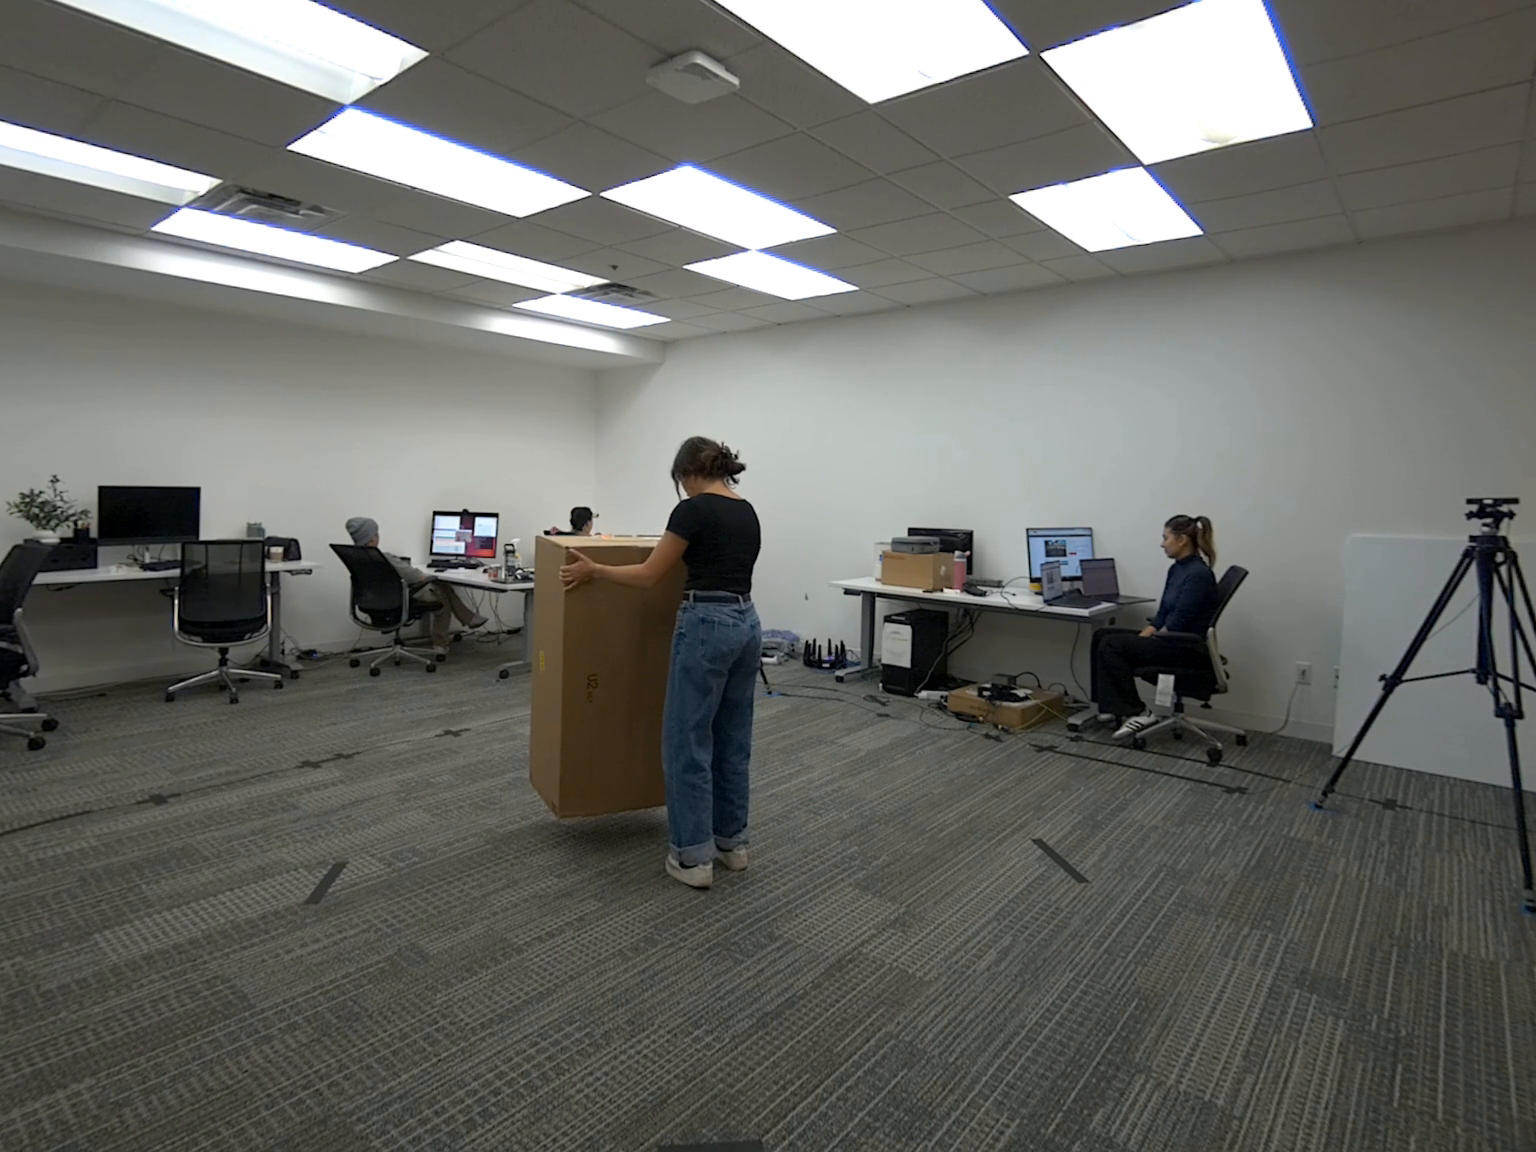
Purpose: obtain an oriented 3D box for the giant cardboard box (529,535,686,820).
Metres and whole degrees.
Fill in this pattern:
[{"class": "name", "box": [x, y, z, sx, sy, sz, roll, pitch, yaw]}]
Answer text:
[{"class": "giant cardboard box", "box": [-0.624, 0.370, 3.402, 0.562, 1.021, 0.440, 0, 6, -29]}]
